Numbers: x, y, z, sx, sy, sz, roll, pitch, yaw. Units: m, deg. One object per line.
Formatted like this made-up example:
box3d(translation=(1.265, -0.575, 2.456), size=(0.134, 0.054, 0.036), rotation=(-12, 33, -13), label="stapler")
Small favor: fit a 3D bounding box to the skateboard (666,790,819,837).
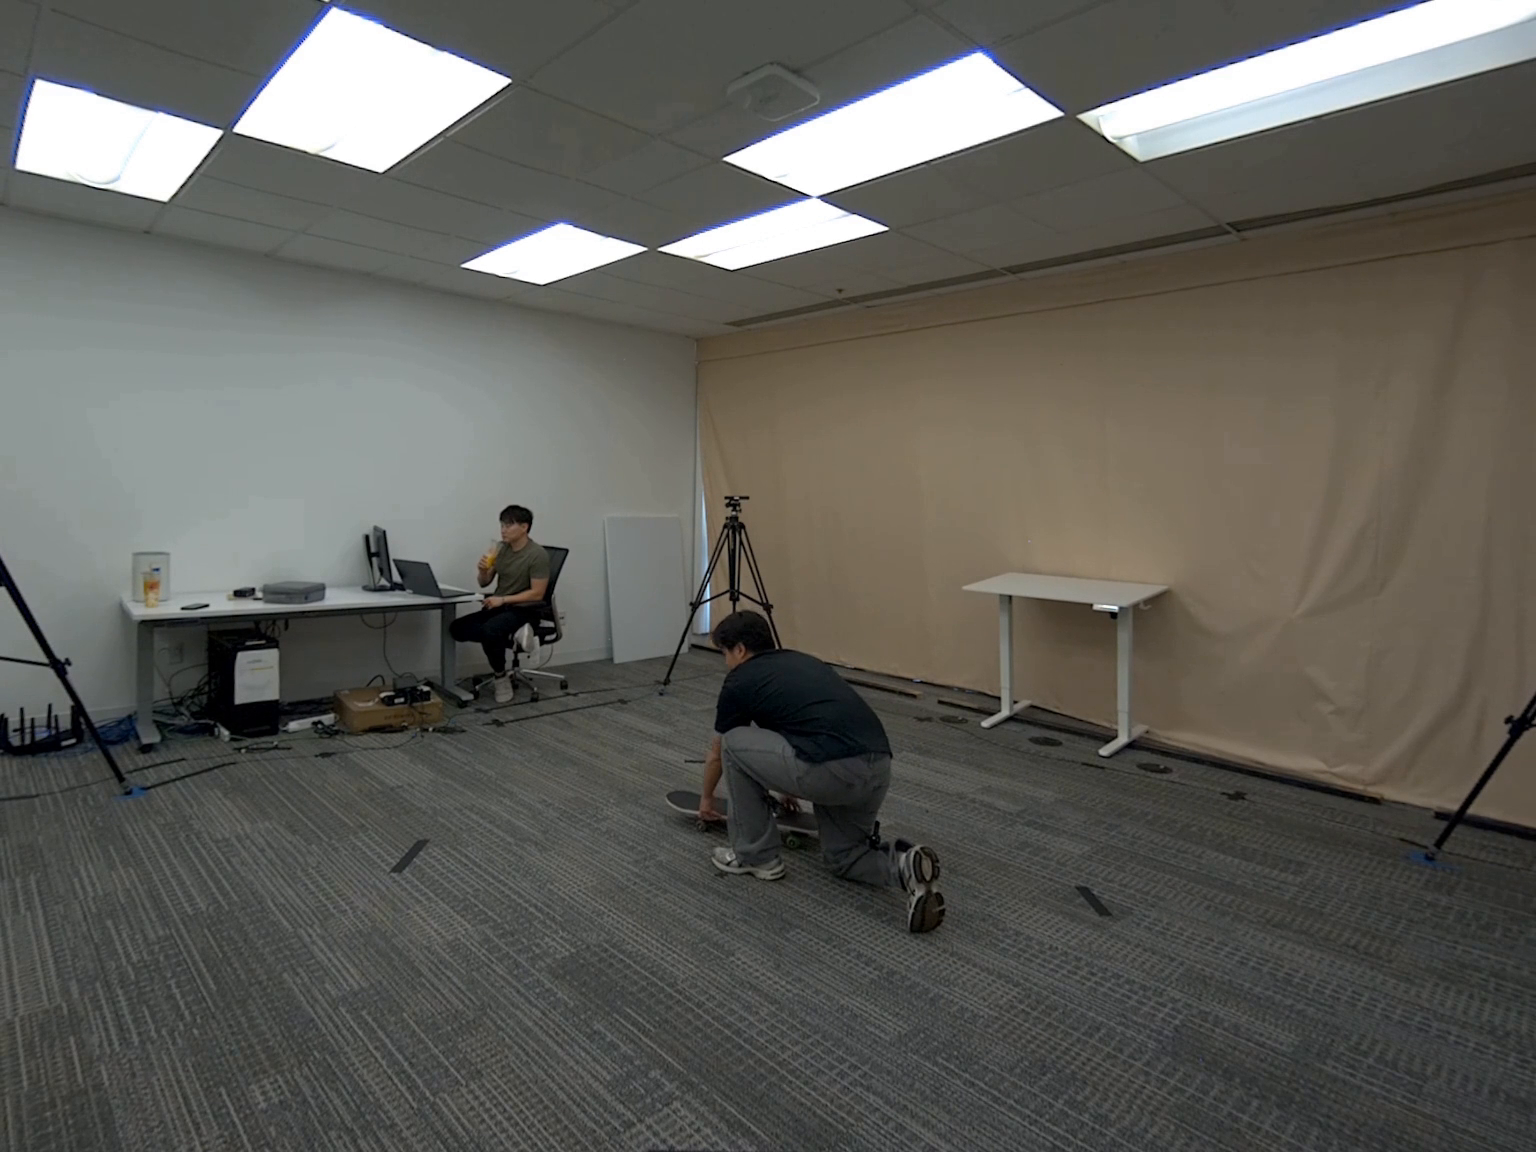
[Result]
box3d(translation=(-0.073, 1.011, 3.503), size=(0.798, 0.110, 0.191), rotation=(4, 5, 20), label="skateboard")
